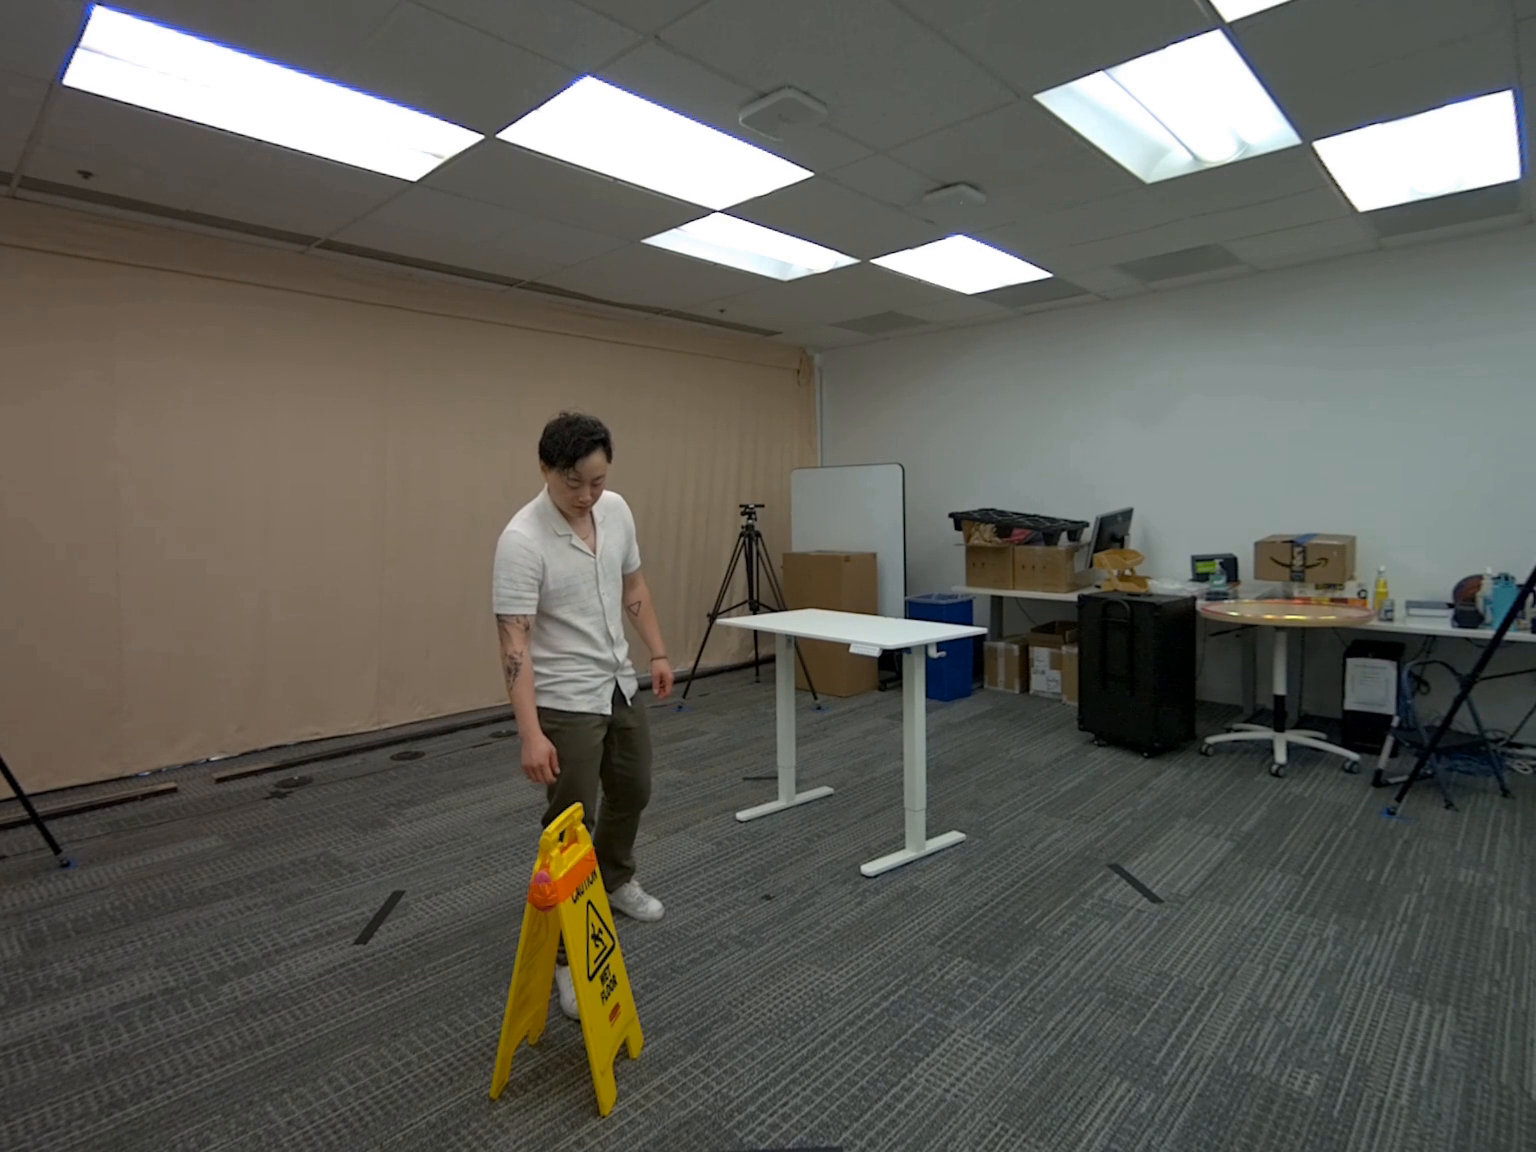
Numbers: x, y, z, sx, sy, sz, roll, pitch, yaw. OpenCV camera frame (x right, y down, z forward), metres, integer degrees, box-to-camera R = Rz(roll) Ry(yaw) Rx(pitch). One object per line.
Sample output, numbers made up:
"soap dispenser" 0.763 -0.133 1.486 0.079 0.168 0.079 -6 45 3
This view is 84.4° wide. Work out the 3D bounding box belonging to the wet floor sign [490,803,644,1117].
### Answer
"wet floor sign" -0.498 0.905 2.065 0.293 0.645 0.279 0 2 11
